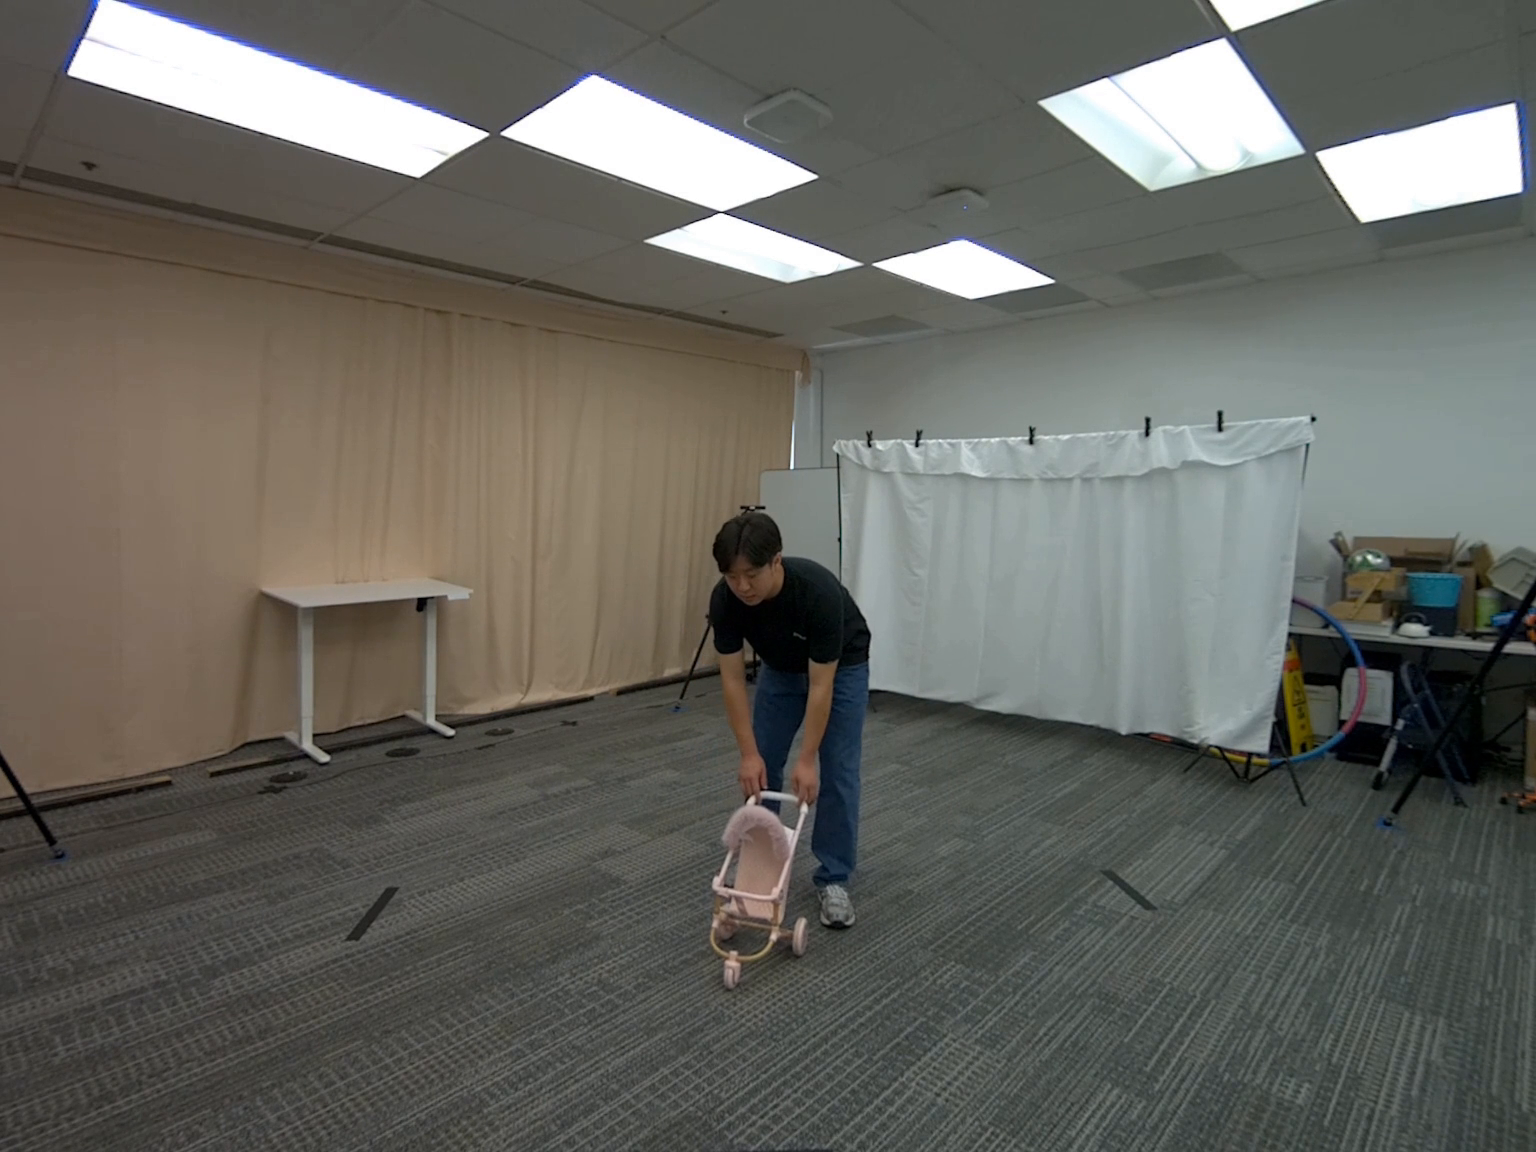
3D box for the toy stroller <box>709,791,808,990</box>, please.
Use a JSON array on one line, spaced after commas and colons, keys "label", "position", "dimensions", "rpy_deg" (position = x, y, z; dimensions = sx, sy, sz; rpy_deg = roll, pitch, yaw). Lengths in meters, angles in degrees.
[{"label": "toy stroller", "position": [-0.037, 0.948, 2.595], "dimensions": [0.289, 0.538, 0.331], "rpy_deg": [1, -11, 26]}]
